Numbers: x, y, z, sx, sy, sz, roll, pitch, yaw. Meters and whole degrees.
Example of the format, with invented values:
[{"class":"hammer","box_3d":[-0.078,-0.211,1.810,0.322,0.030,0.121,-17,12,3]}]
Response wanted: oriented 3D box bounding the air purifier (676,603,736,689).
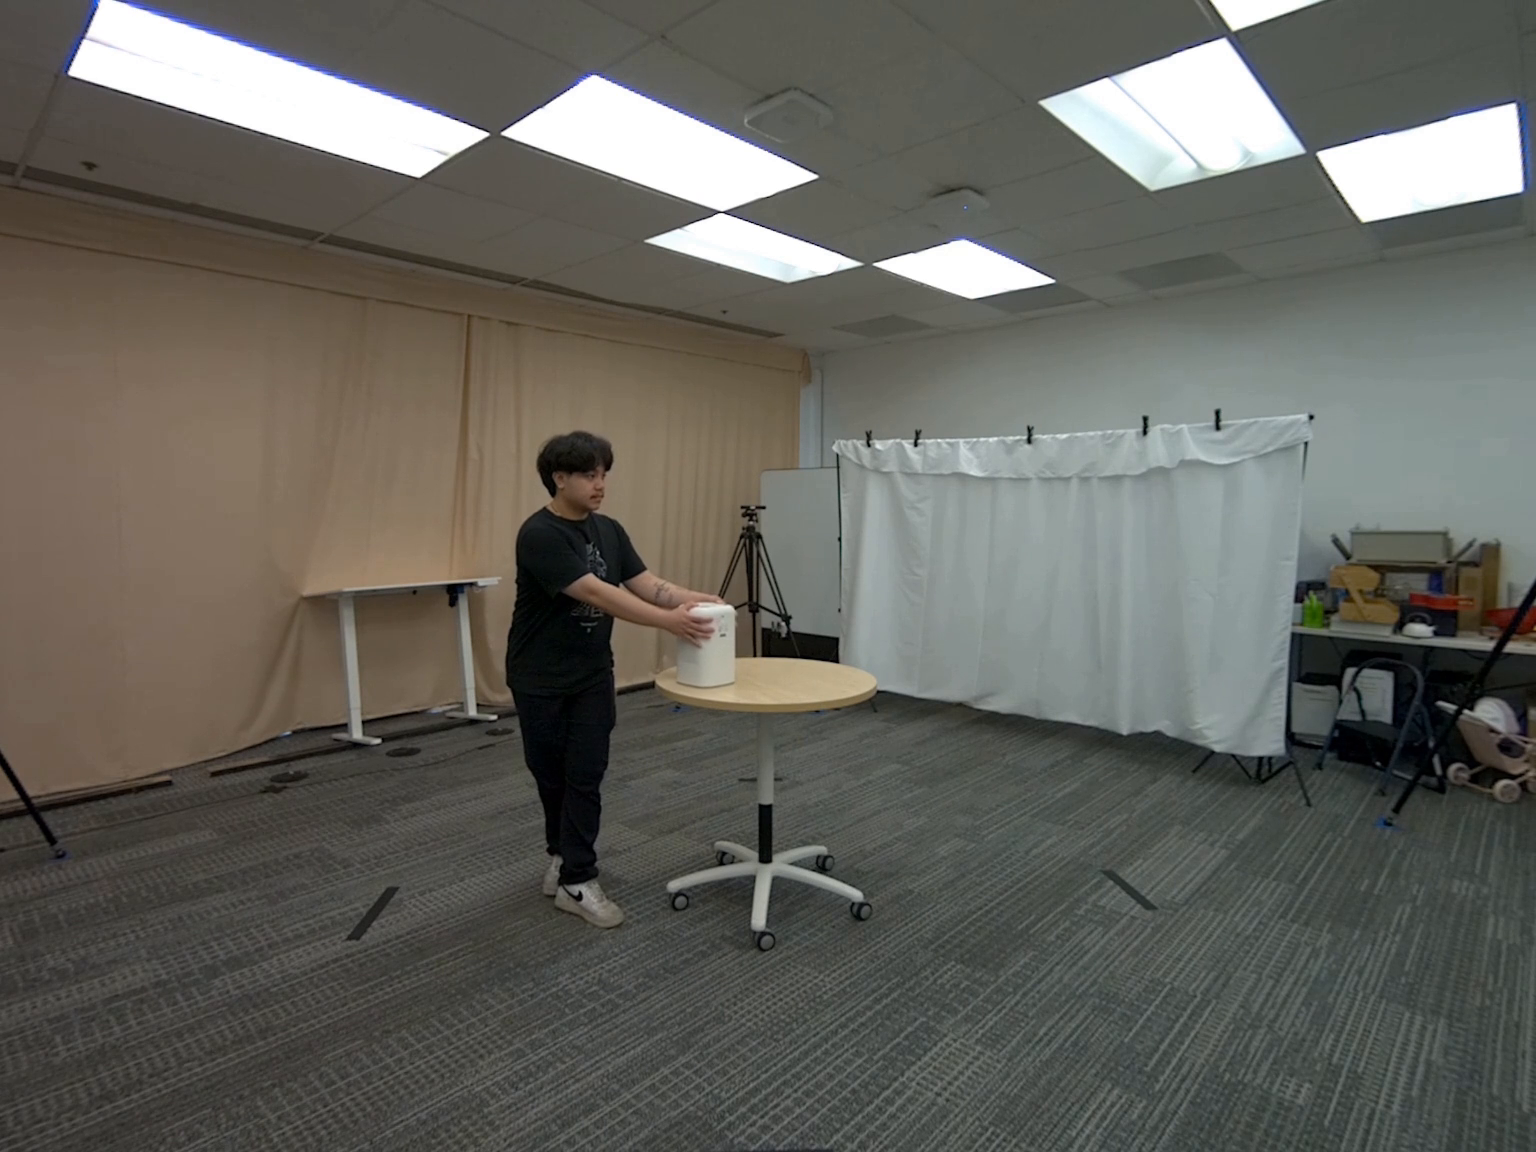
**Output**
[{"class":"air purifier","box_3d":[-0.206,0.232,2.851,0.166,0.265,0.177,-5,5,-43]}]
